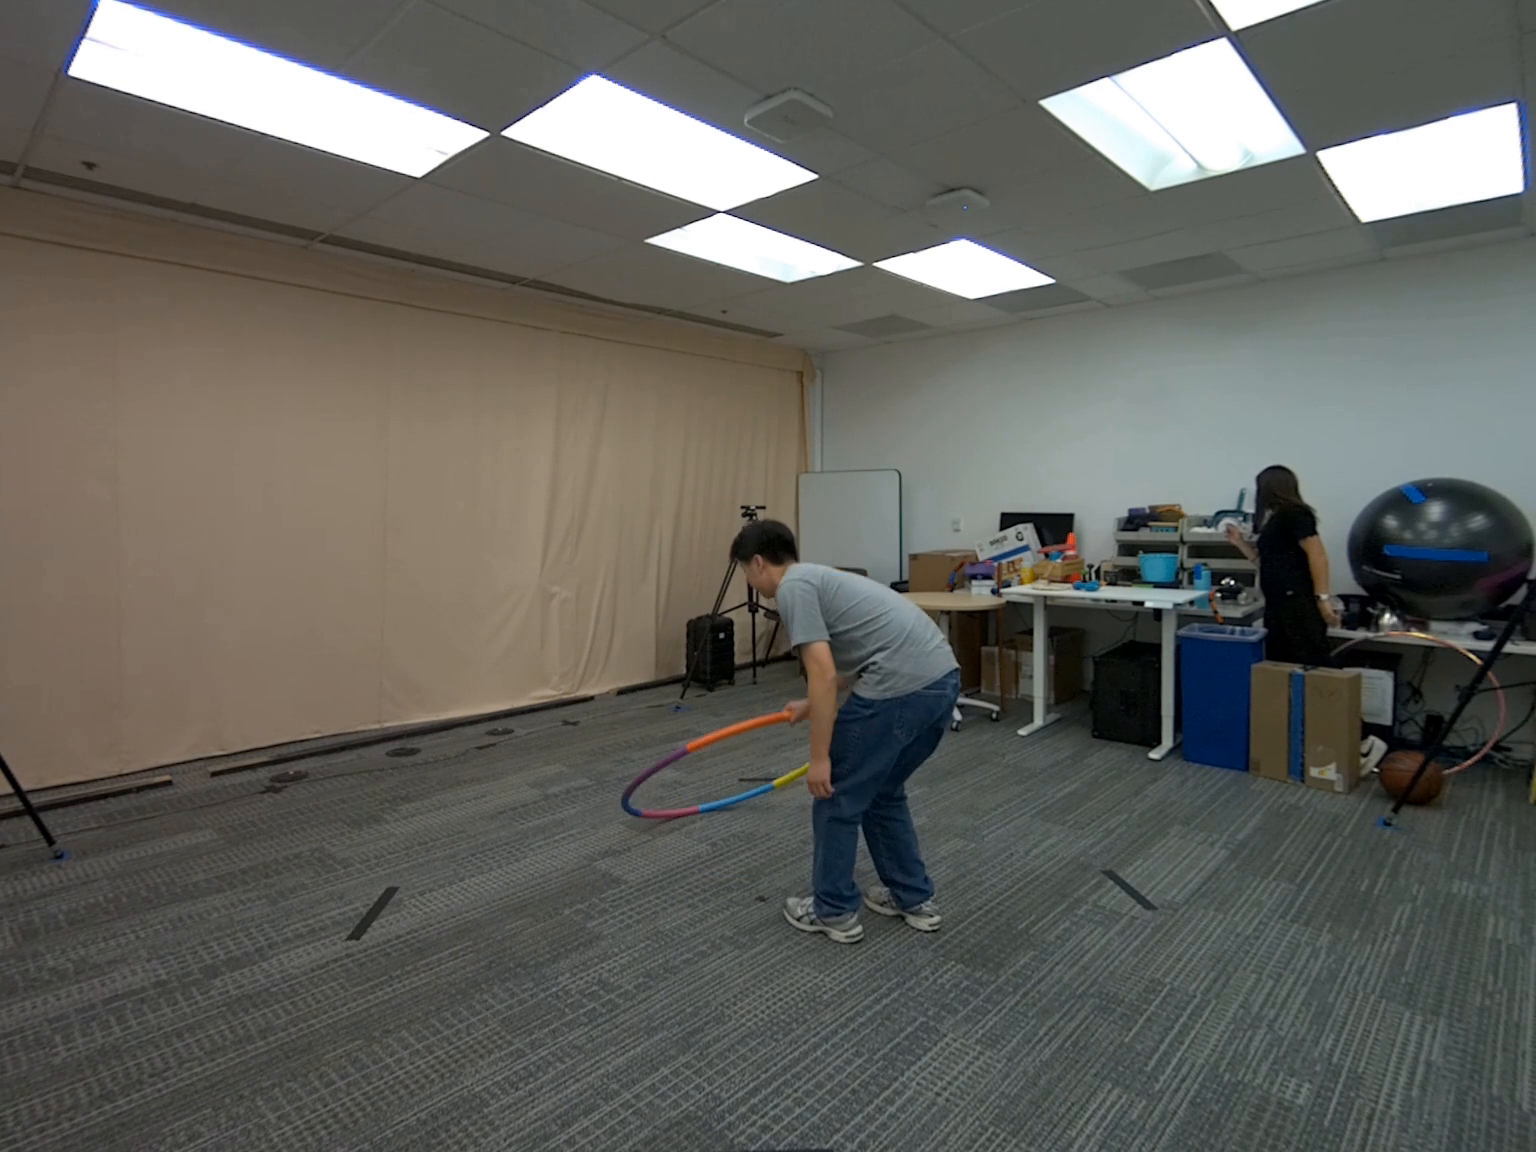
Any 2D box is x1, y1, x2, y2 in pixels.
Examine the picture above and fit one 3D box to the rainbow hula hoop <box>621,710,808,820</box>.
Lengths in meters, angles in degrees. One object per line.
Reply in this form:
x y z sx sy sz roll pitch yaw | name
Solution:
-0.130 0.804 3.475 0.970 0.036 0.963 -15 -28 -10 | rainbow hula hoop
